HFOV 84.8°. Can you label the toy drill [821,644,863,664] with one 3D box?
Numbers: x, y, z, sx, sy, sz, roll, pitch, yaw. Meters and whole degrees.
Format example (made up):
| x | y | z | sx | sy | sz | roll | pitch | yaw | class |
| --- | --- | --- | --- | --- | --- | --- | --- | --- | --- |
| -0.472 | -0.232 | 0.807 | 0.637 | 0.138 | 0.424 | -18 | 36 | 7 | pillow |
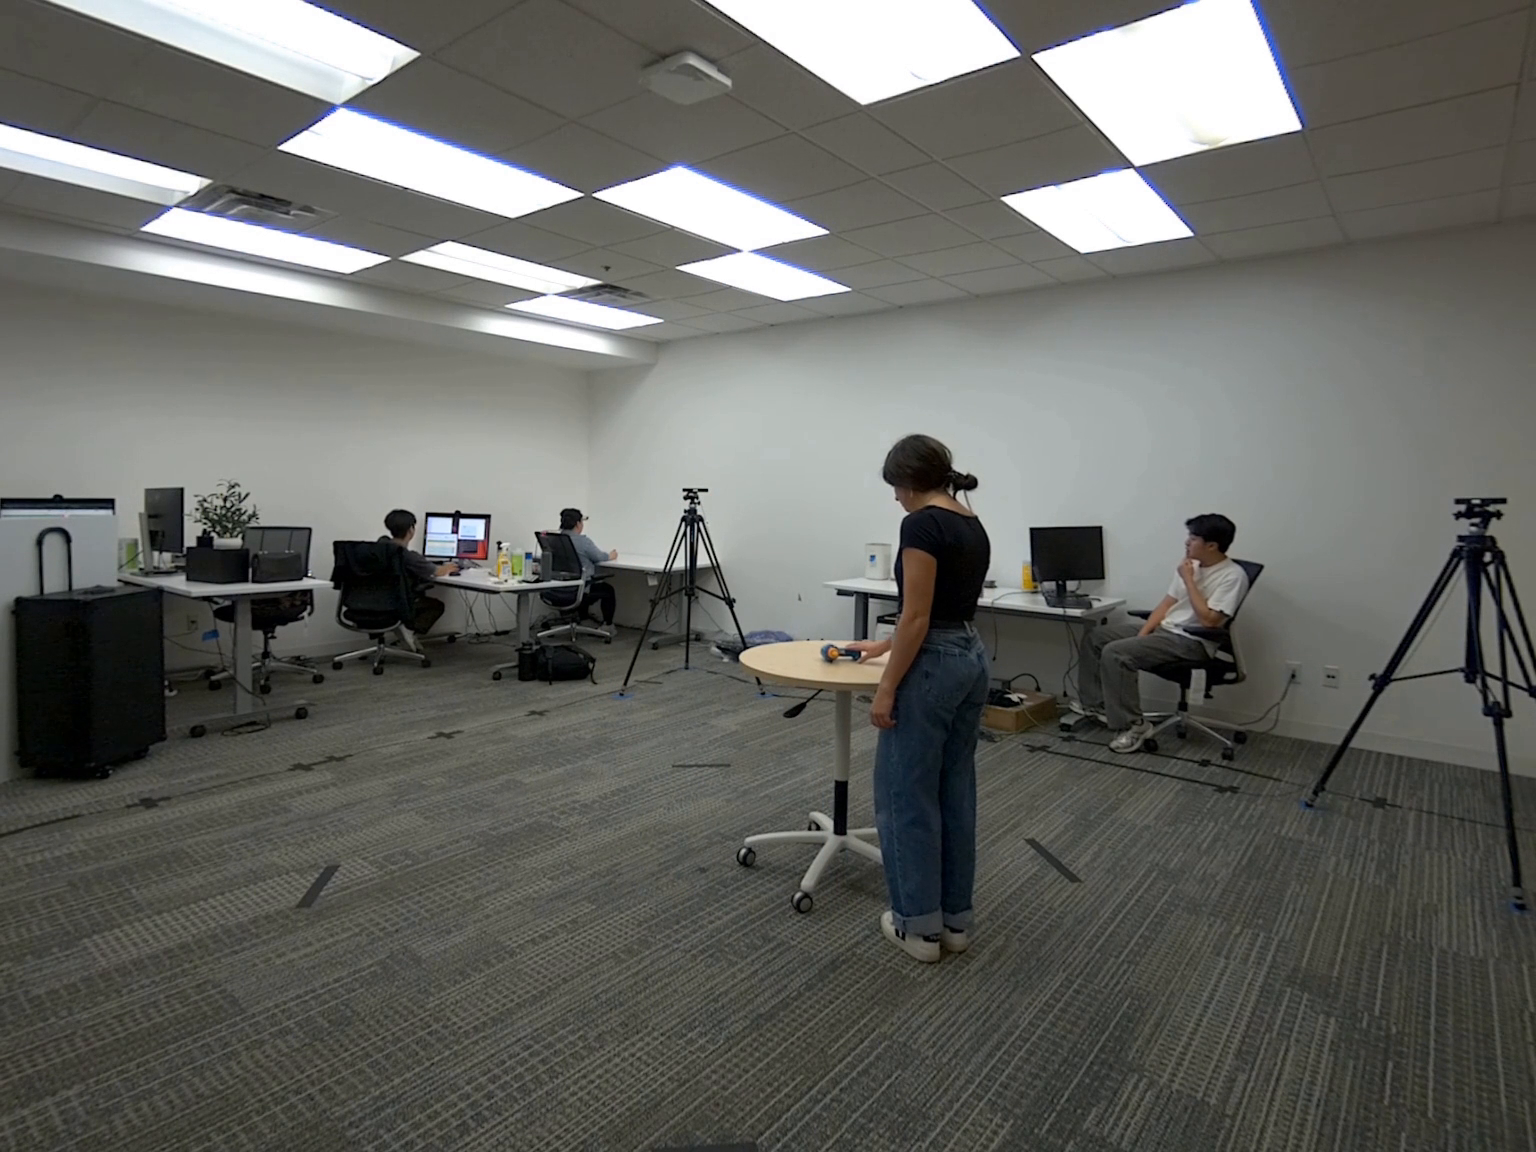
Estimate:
| x | y | z | sx | sy | sz | roll | pitch | yaw | class |
| --- | --- | --- | --- | --- | --- | --- | --- | --- | --- |
| 0.270 | 0.267 | 3.039 | 0.145 | 0.061 | 0.170 | 1 | -2 | -7 | toy drill |
